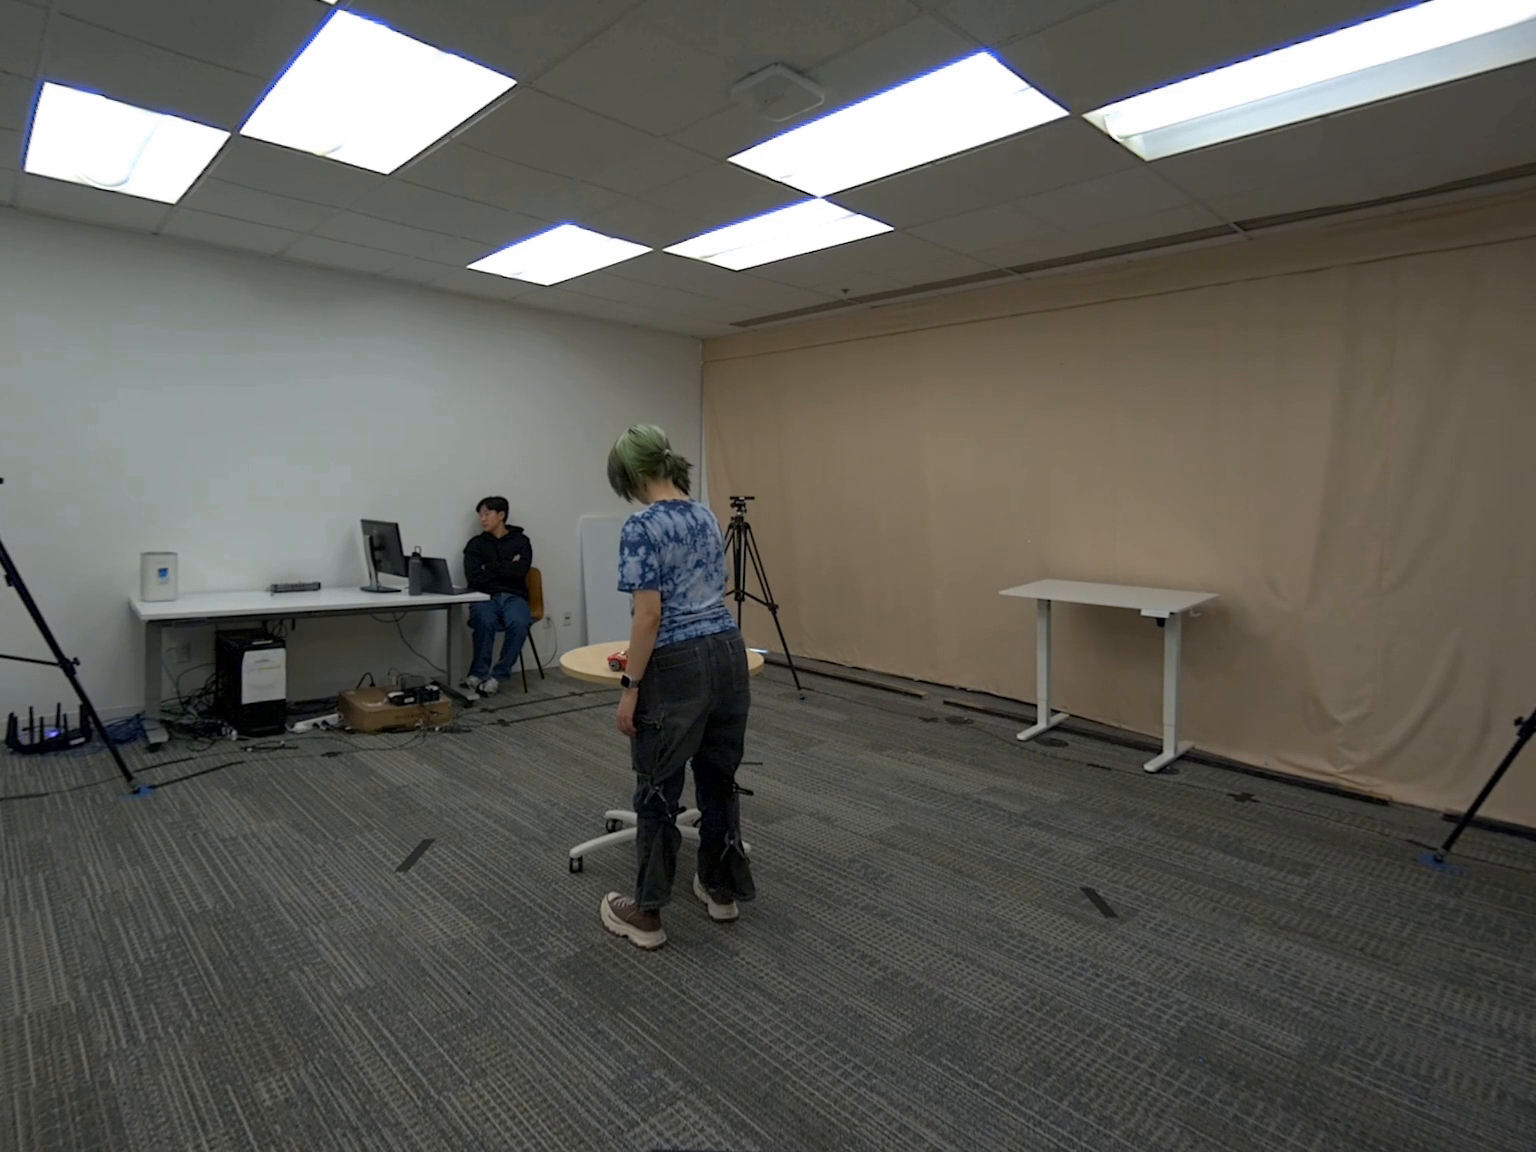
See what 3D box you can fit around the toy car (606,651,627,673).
[{"bbox_3d":[-0.440,0.301,2.950,0.257,0.083,0.129,-7,4,12],"label":"toy car"}]
